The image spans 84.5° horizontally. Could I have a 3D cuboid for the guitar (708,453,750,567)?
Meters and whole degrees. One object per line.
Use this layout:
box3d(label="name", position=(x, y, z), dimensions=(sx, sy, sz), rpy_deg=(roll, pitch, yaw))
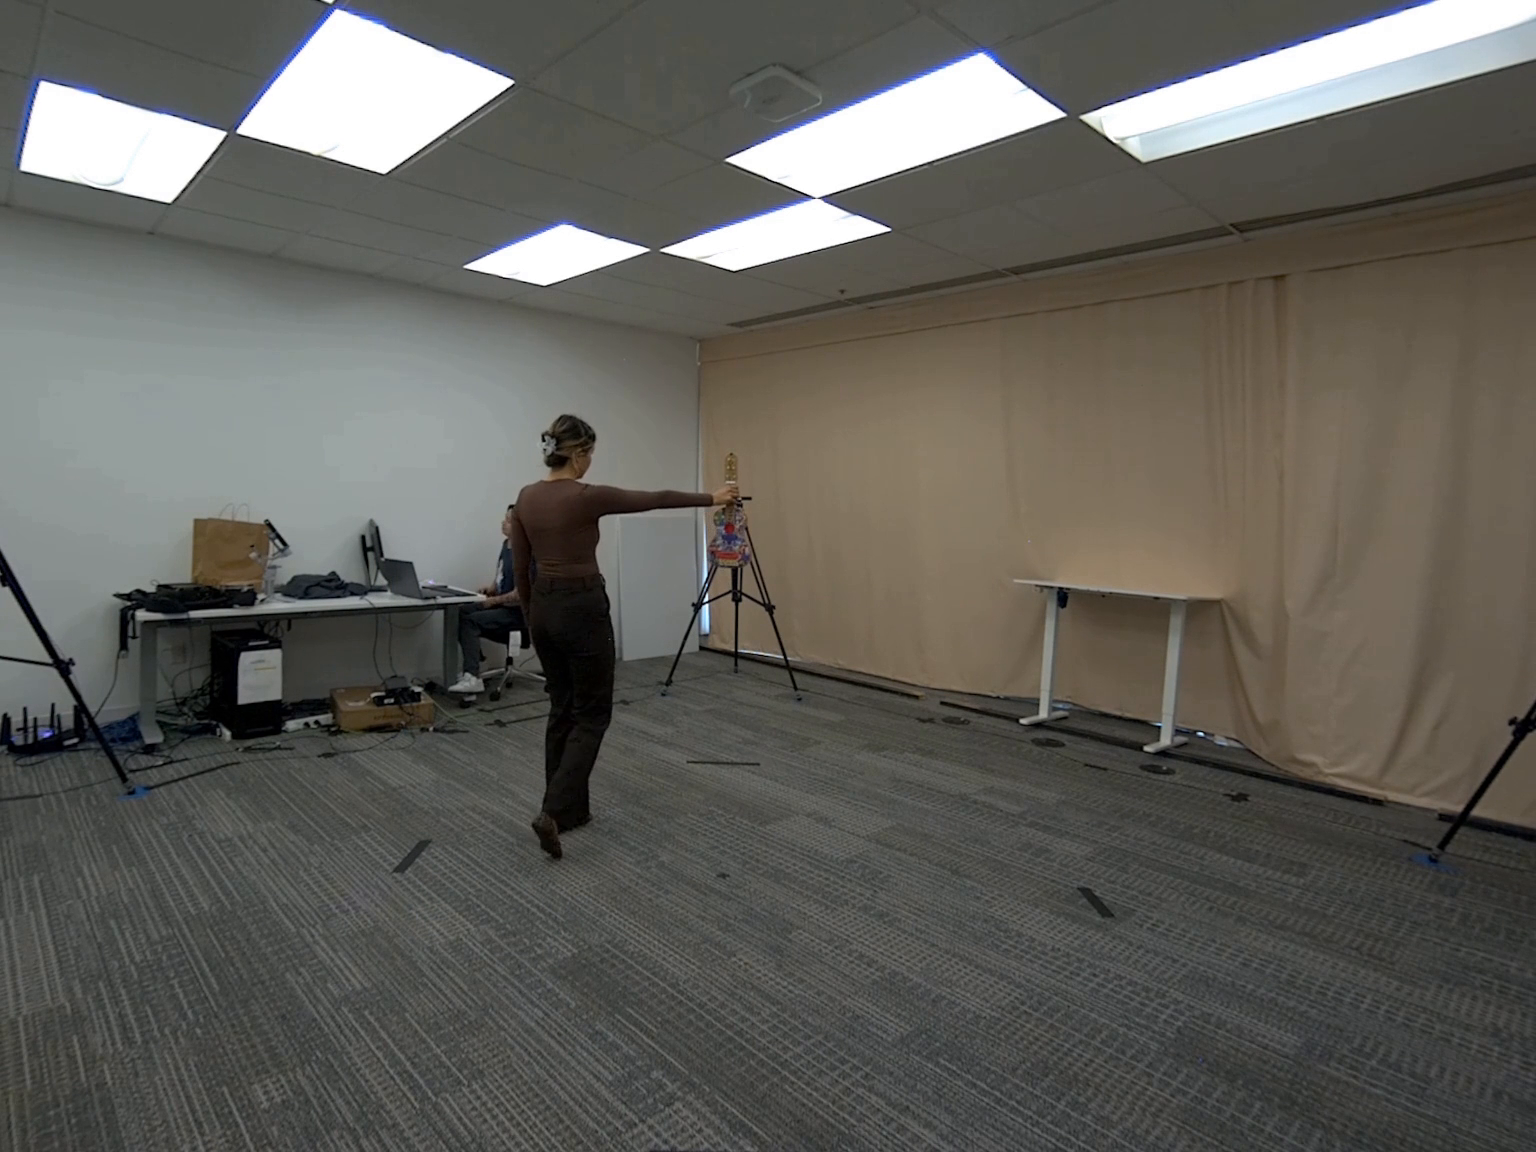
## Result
box3d(label="guitar", position=(-0.142, -0.277, 3.673), dimensions=(0.194, 0.497, 0.070), rpy_deg=(12, 2, 5))
